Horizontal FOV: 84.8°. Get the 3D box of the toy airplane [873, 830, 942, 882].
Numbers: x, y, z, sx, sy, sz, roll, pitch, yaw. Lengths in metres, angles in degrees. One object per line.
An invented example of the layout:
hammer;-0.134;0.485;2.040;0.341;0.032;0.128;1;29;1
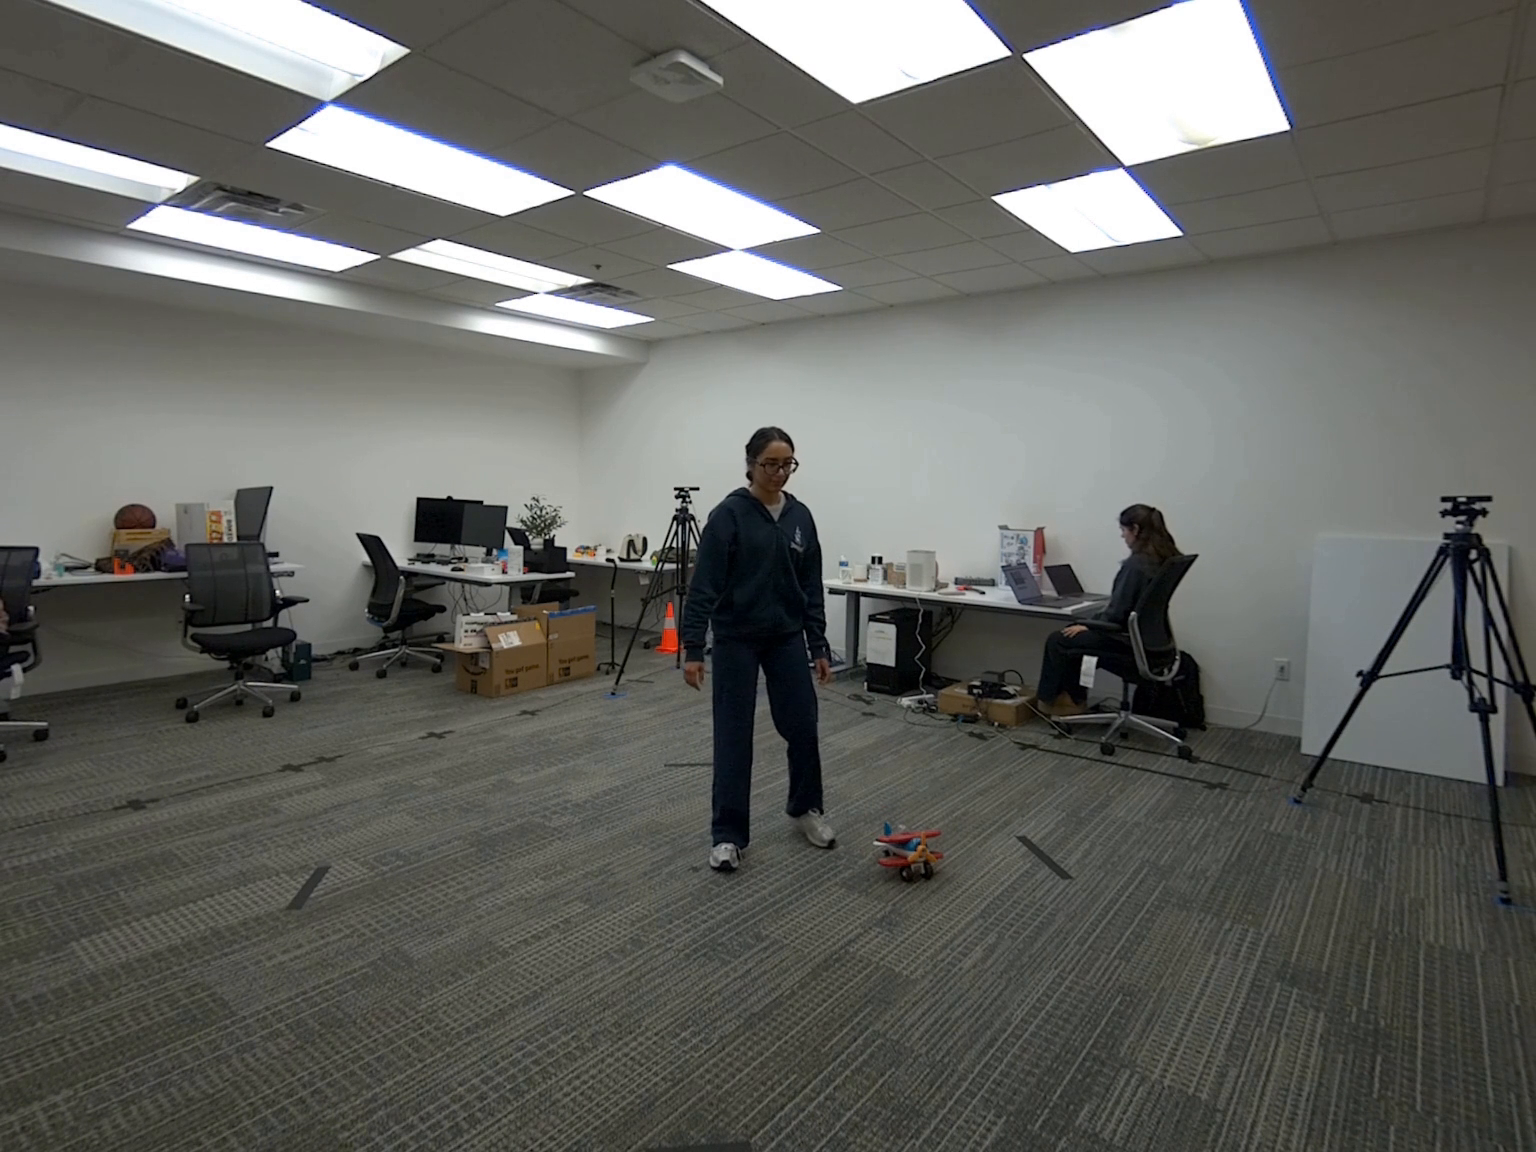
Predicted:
toy airplane;0.478;1.003;3.128;0.268;0.156;0.244;8;8;39
